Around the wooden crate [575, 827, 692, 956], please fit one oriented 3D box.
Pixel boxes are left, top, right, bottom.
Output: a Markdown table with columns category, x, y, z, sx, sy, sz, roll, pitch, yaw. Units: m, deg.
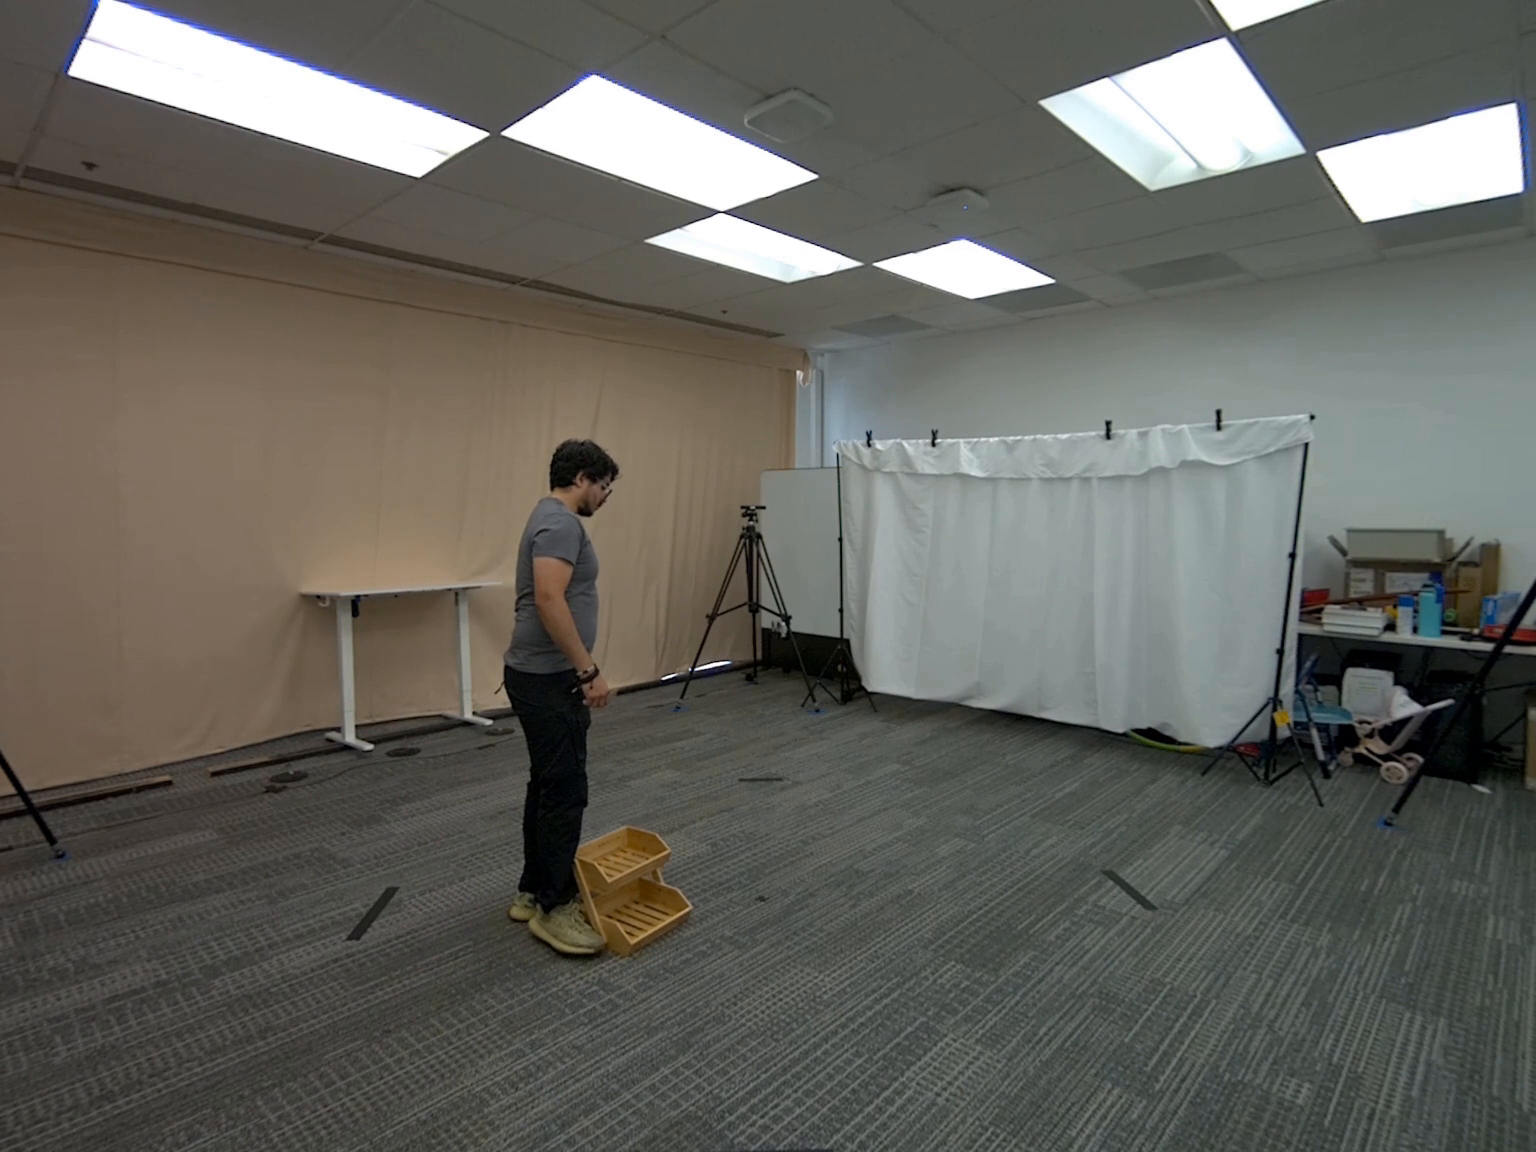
| category | x | y | z | sx | sy | sz | roll | pitch | yaw |
| --- | --- | --- | --- | --- | --- | --- | --- | --- | --- |
| wooden crate | -0.456 | 1.032 | 2.781 | 0.311 | 0.273 | 0.315 | 1 | 4 | 36 |
